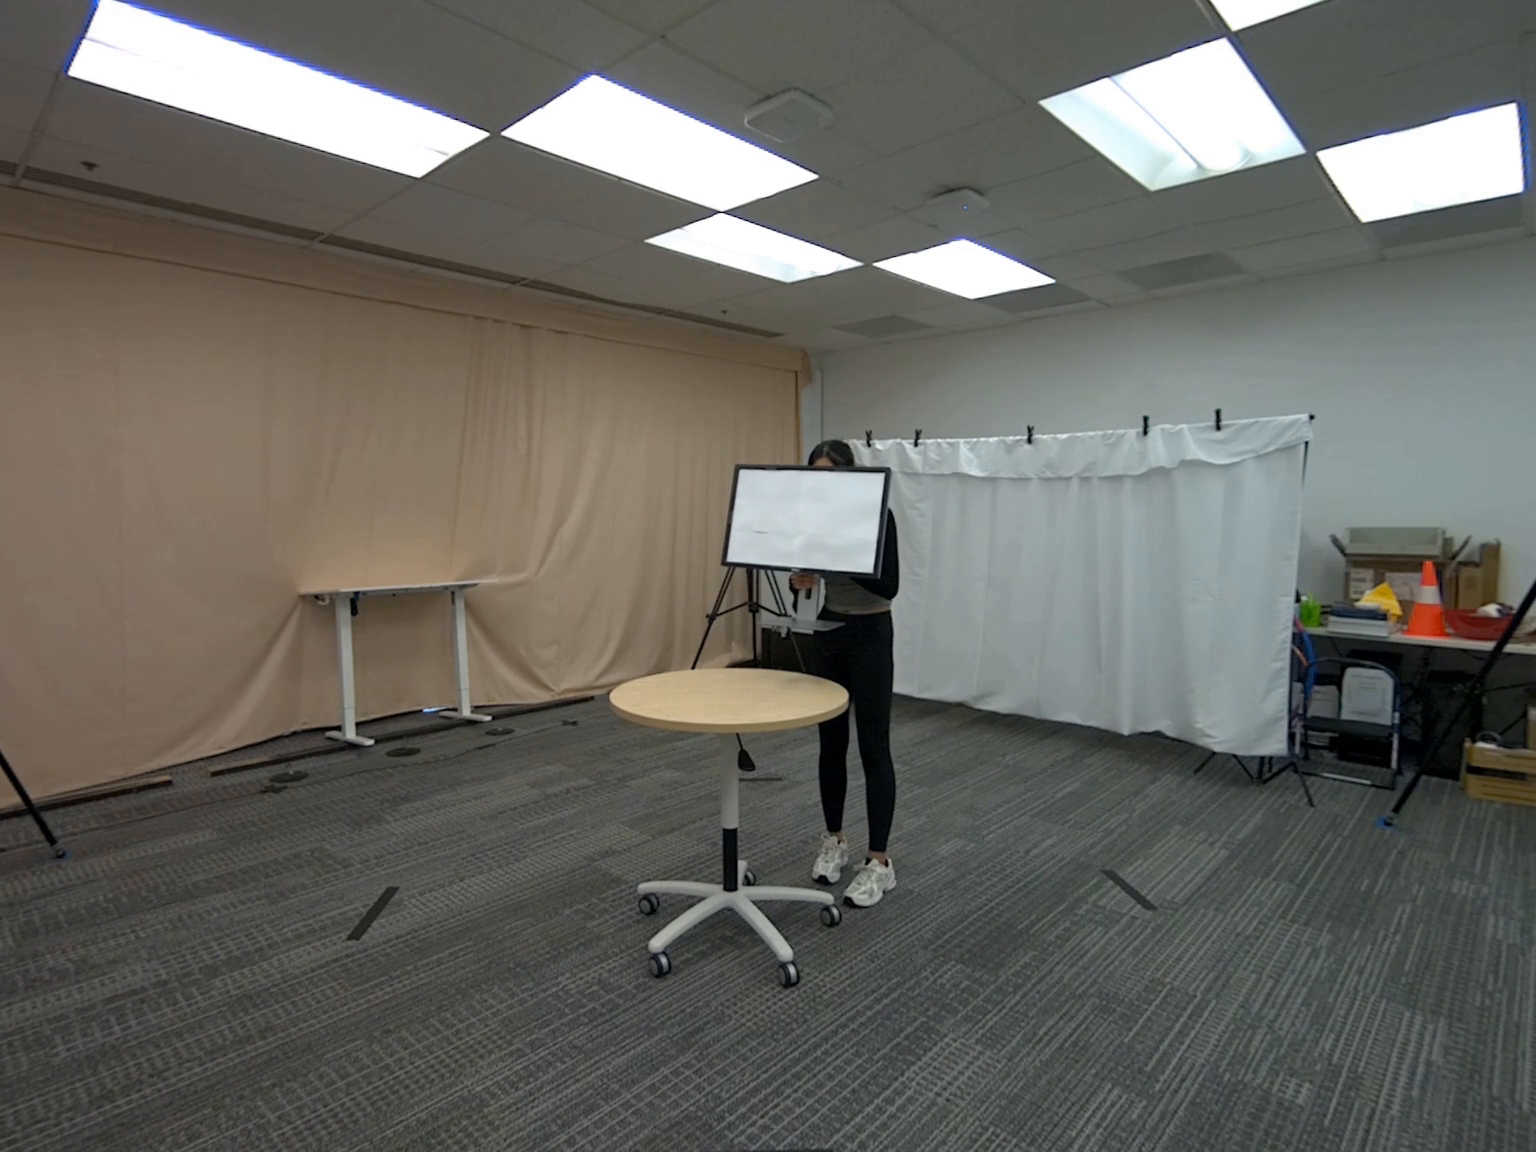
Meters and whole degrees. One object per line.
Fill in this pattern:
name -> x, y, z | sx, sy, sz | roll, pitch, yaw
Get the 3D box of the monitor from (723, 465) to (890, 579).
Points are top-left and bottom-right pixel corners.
monitor -> 0.134, -0.104, 2.844 | 0.553, 0.522, 0.182 | 4, 3, 25
